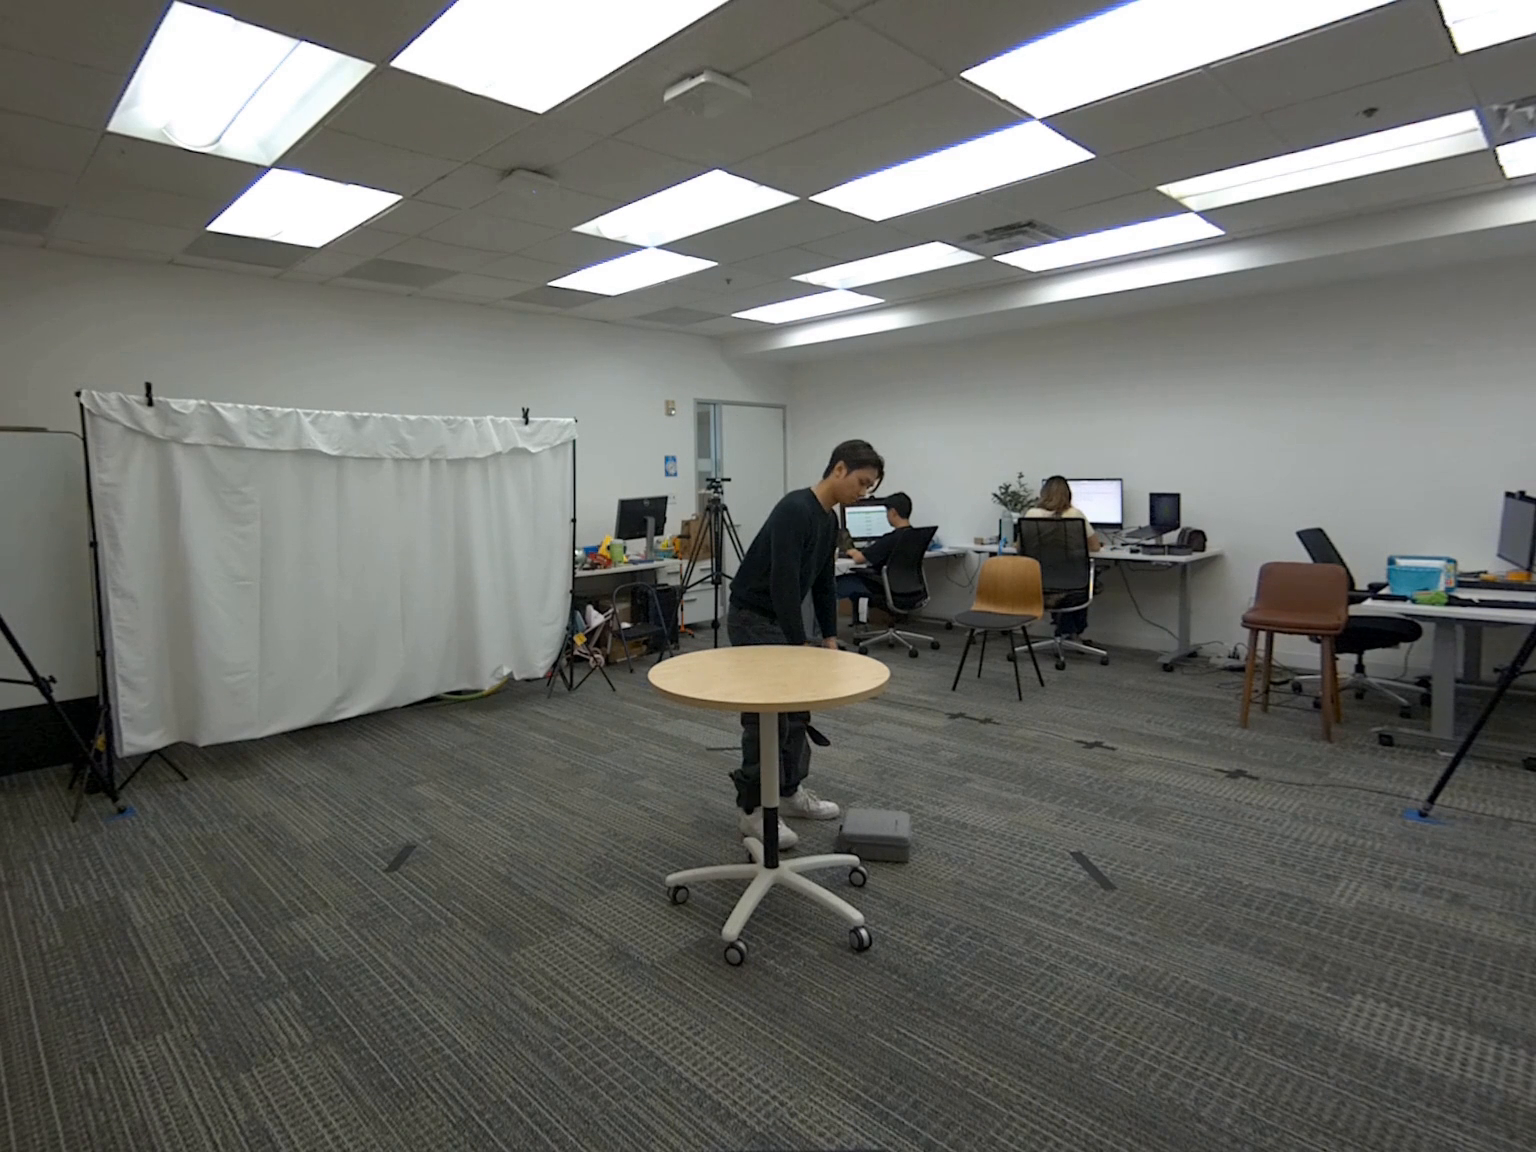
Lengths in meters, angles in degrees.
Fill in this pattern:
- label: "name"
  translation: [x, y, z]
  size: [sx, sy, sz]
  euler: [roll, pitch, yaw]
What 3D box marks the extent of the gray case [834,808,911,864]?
- label: "gray case"
  translation: [0.398, 0.962, 3.206]
  size: [0.264, 0.104, 0.255]
  euler: [-1, 6, 12]
